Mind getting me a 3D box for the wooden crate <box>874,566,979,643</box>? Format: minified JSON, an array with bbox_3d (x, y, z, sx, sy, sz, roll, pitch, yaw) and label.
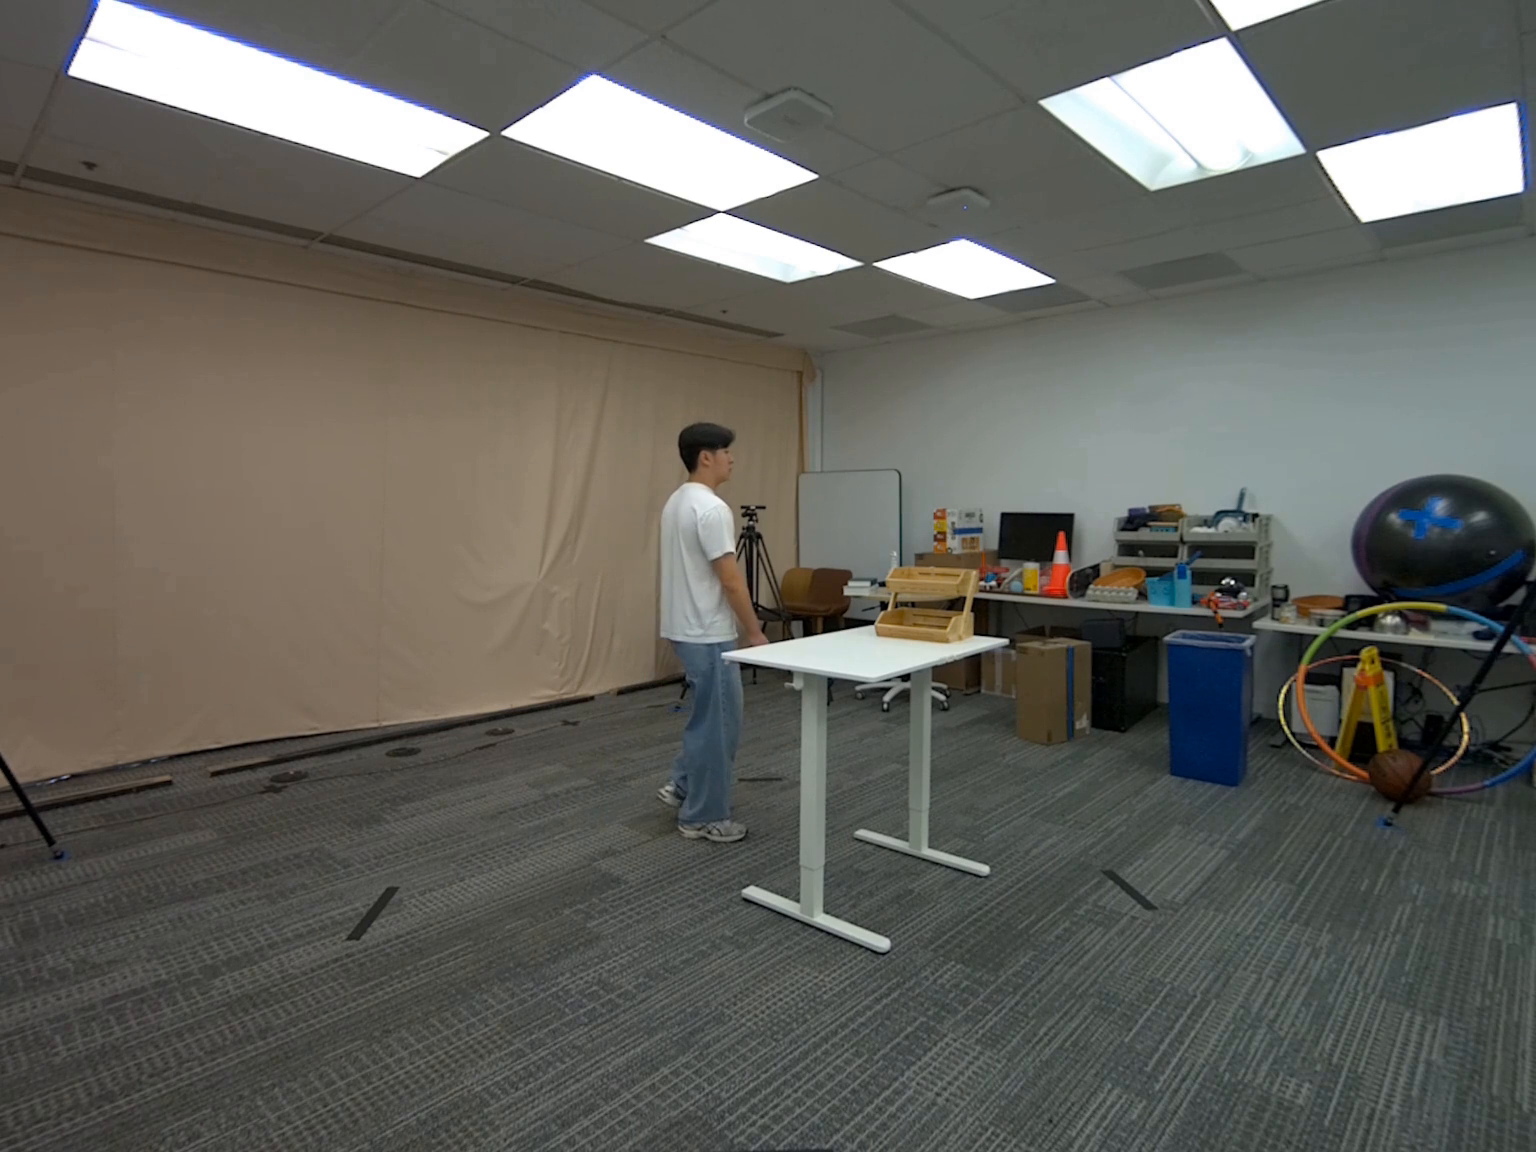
[{"bbox_3d":[0.626,0.103,3.303,0.335,0.273,0.293,3,3,35],"label":"wooden crate"}]
